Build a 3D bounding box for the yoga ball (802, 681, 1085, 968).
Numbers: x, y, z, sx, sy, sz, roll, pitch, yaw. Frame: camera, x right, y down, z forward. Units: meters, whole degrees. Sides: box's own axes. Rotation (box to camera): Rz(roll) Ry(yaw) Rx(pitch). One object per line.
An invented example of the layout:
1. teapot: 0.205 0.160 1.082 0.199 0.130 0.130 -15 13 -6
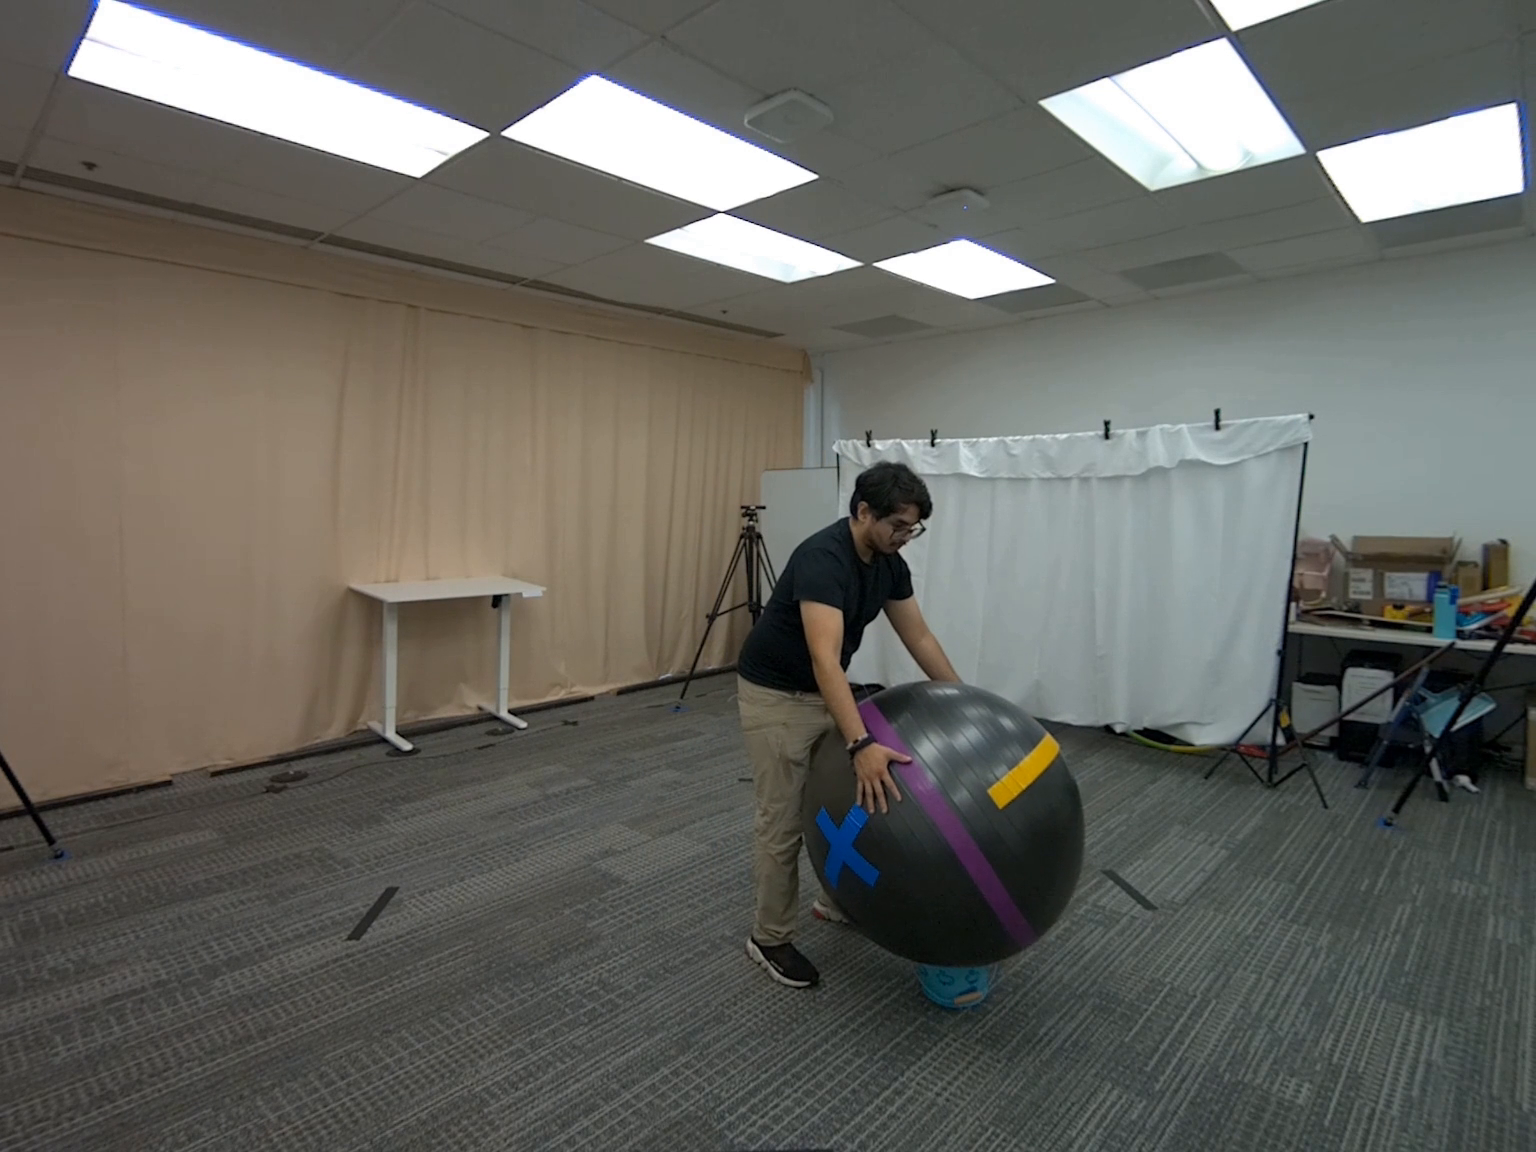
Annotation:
1. yoga ball: 0.484 0.685 2.357 0.757 0.756 0.760 0 4 -2
